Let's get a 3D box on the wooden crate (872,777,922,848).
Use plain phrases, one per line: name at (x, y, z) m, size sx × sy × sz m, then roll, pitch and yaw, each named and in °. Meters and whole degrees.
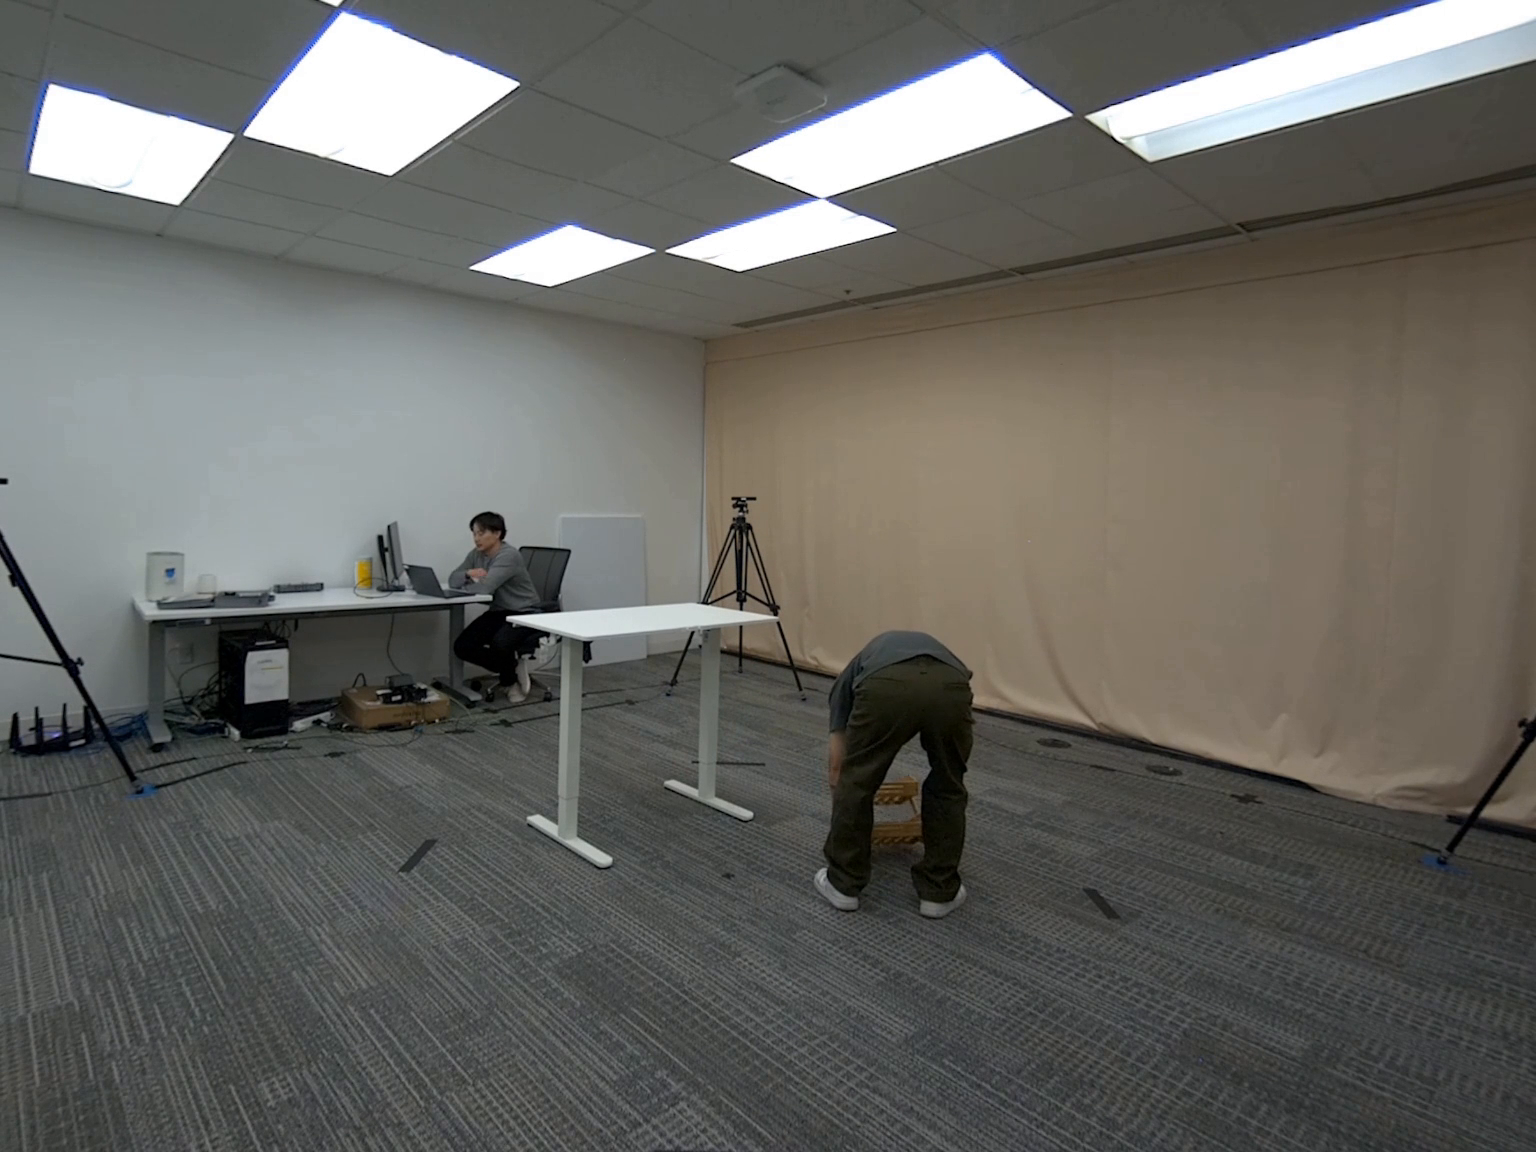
wooden crate at (0.447, 0.916, 3.338) m, size 0.321 × 0.279 × 0.299 m, roll 1°, pitch -27°, yaw -13°
